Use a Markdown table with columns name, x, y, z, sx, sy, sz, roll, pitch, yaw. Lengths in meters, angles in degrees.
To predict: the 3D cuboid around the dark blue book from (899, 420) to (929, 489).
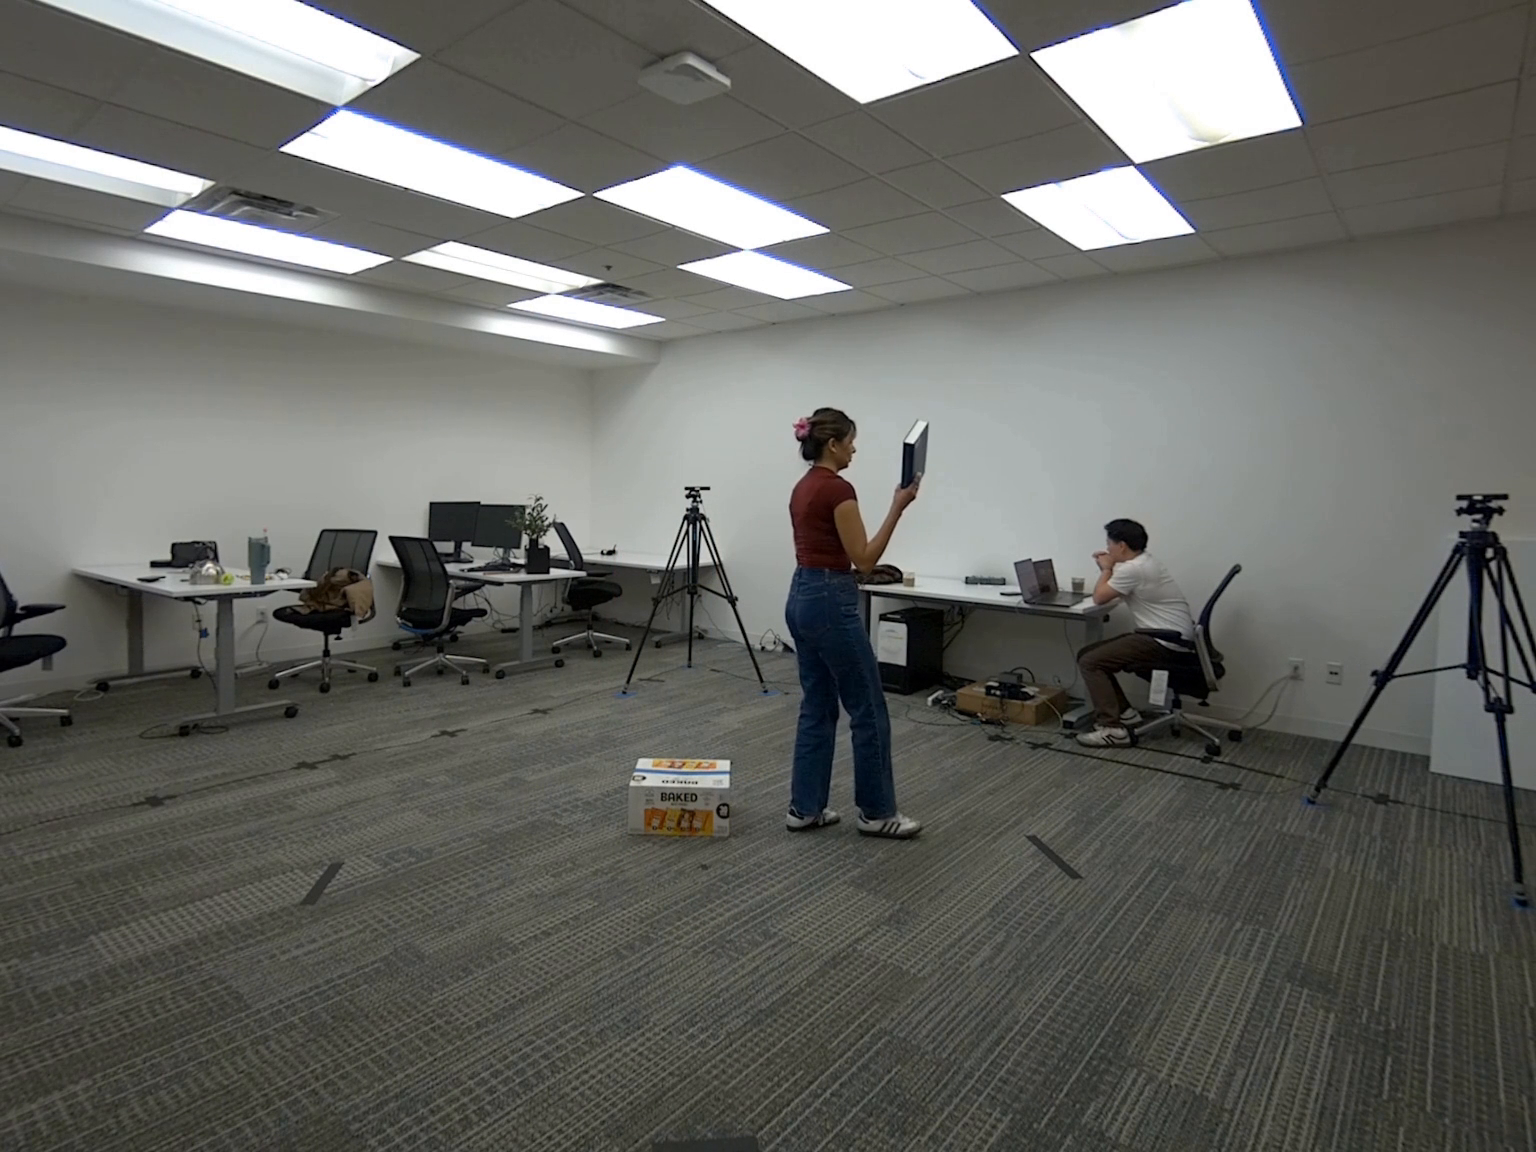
| name | x | y | z | sx | sy | sz | roll | pitch | yaw |
| --- | --- | --- | --- | --- | --- | --- | --- | --- | --- |
| dark blue book | 0.549 | -0.453 | 3.240 | 0.046 | 0.237 | 0.164 | 16 | 46 | 21 |
